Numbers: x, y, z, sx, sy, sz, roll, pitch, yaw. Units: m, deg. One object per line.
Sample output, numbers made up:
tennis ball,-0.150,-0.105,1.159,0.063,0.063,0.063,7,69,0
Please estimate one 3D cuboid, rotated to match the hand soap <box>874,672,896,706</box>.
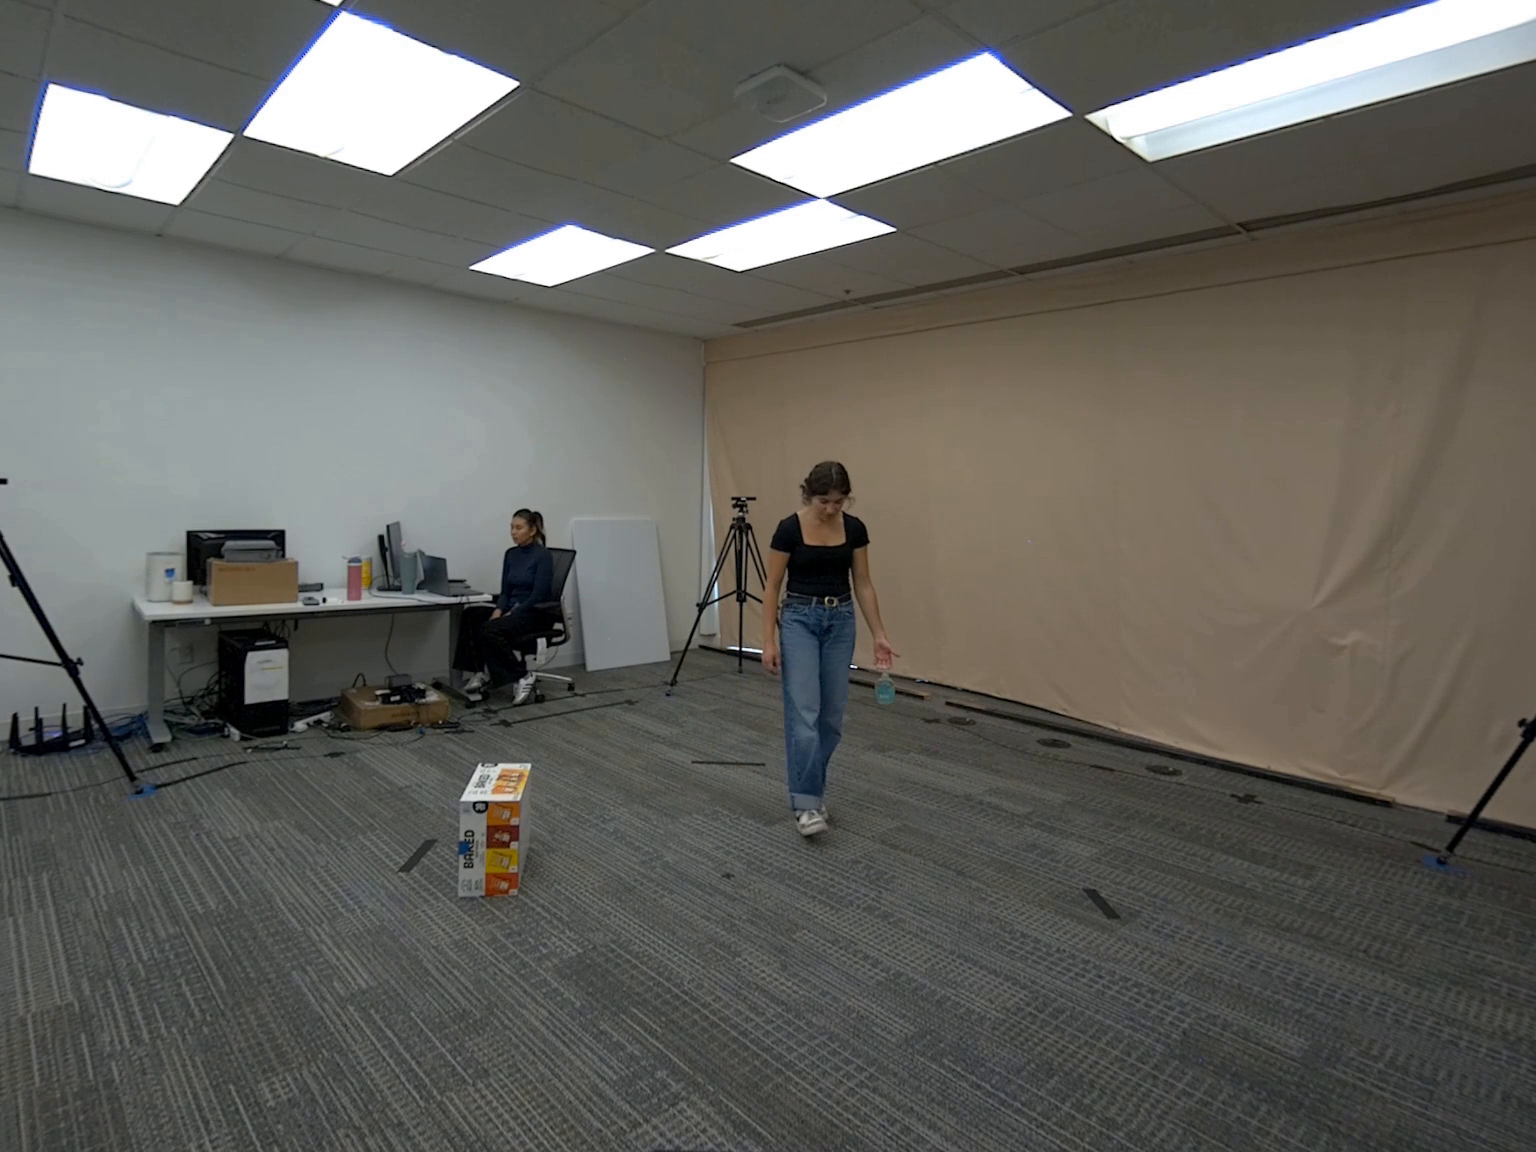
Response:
hand soap,0.487,0.467,3.620,0.085,0.167,0.043,-1,5,2
